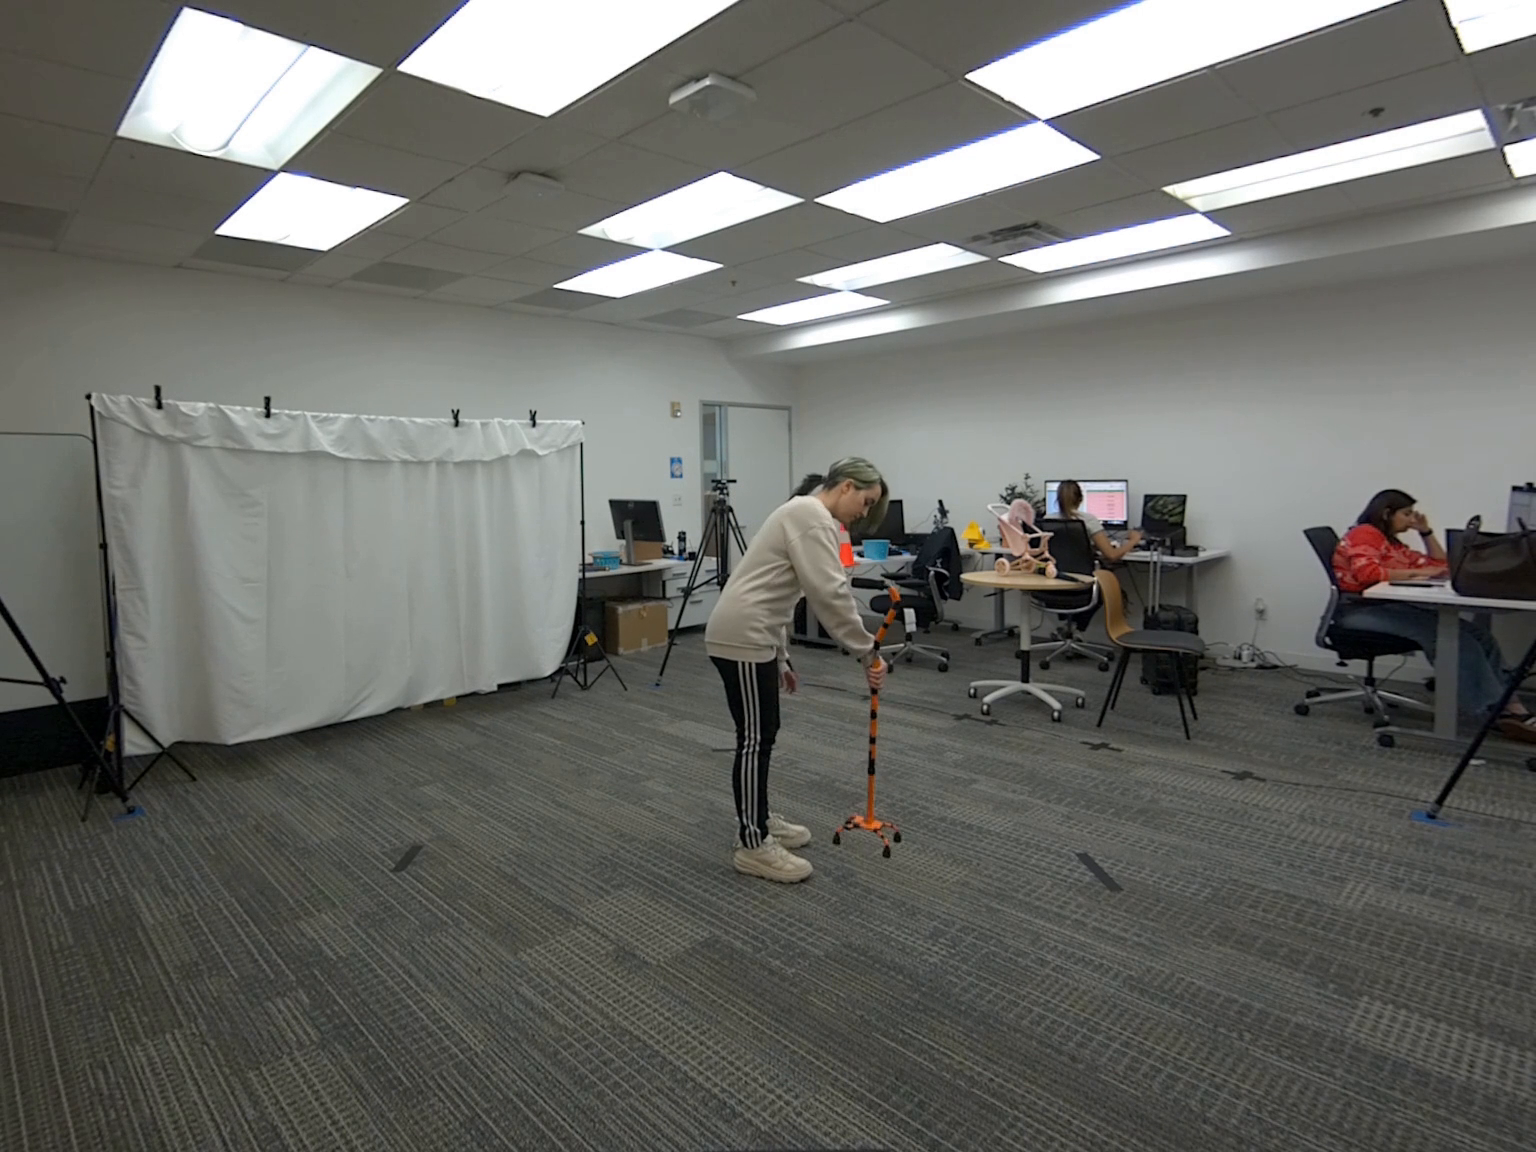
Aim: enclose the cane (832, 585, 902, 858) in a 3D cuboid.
[{"bbox_3d":[0.359,0.463,2.874,0.212,0.901,0.149,6,9,25],"label":"cane"}]
